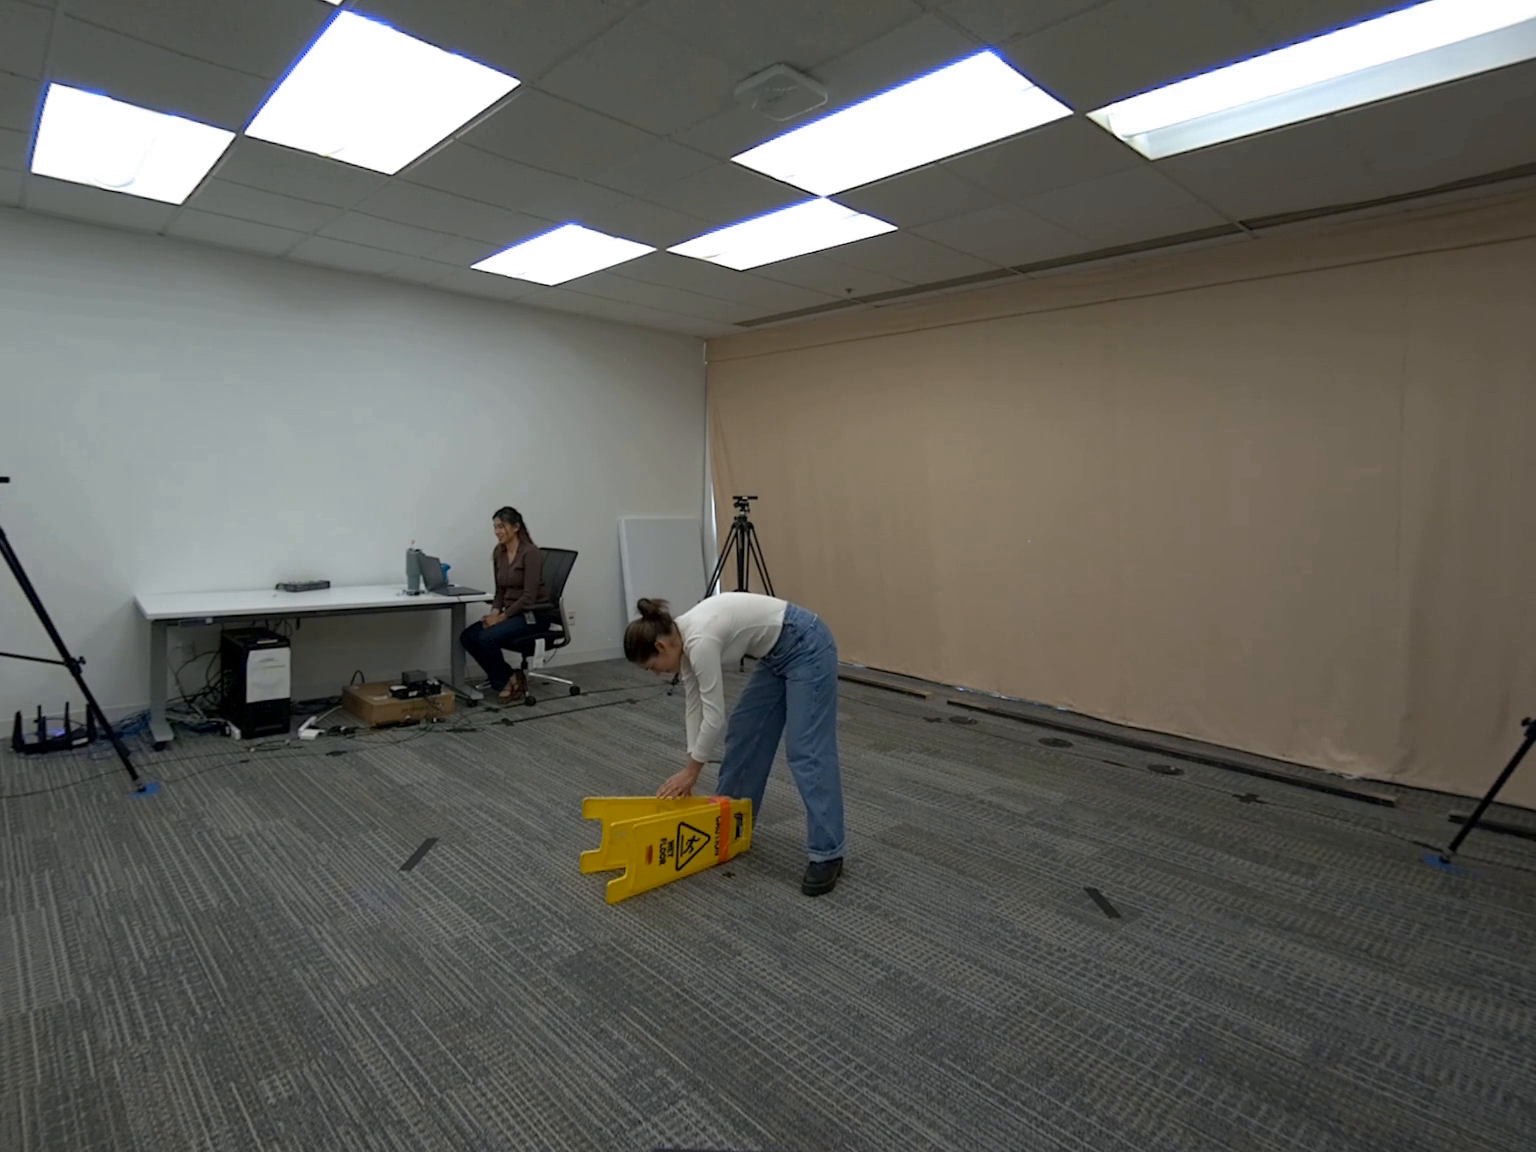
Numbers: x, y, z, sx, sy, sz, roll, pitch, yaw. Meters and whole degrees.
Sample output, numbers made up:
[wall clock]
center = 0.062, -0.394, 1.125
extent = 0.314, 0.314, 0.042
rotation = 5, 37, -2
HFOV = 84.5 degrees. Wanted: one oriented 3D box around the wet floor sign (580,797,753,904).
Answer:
[wet floor sign]
center = -0.346, 0.969, 3.121
extent = 0.632, 0.282, 0.296
rotation = 1, 4, -30
